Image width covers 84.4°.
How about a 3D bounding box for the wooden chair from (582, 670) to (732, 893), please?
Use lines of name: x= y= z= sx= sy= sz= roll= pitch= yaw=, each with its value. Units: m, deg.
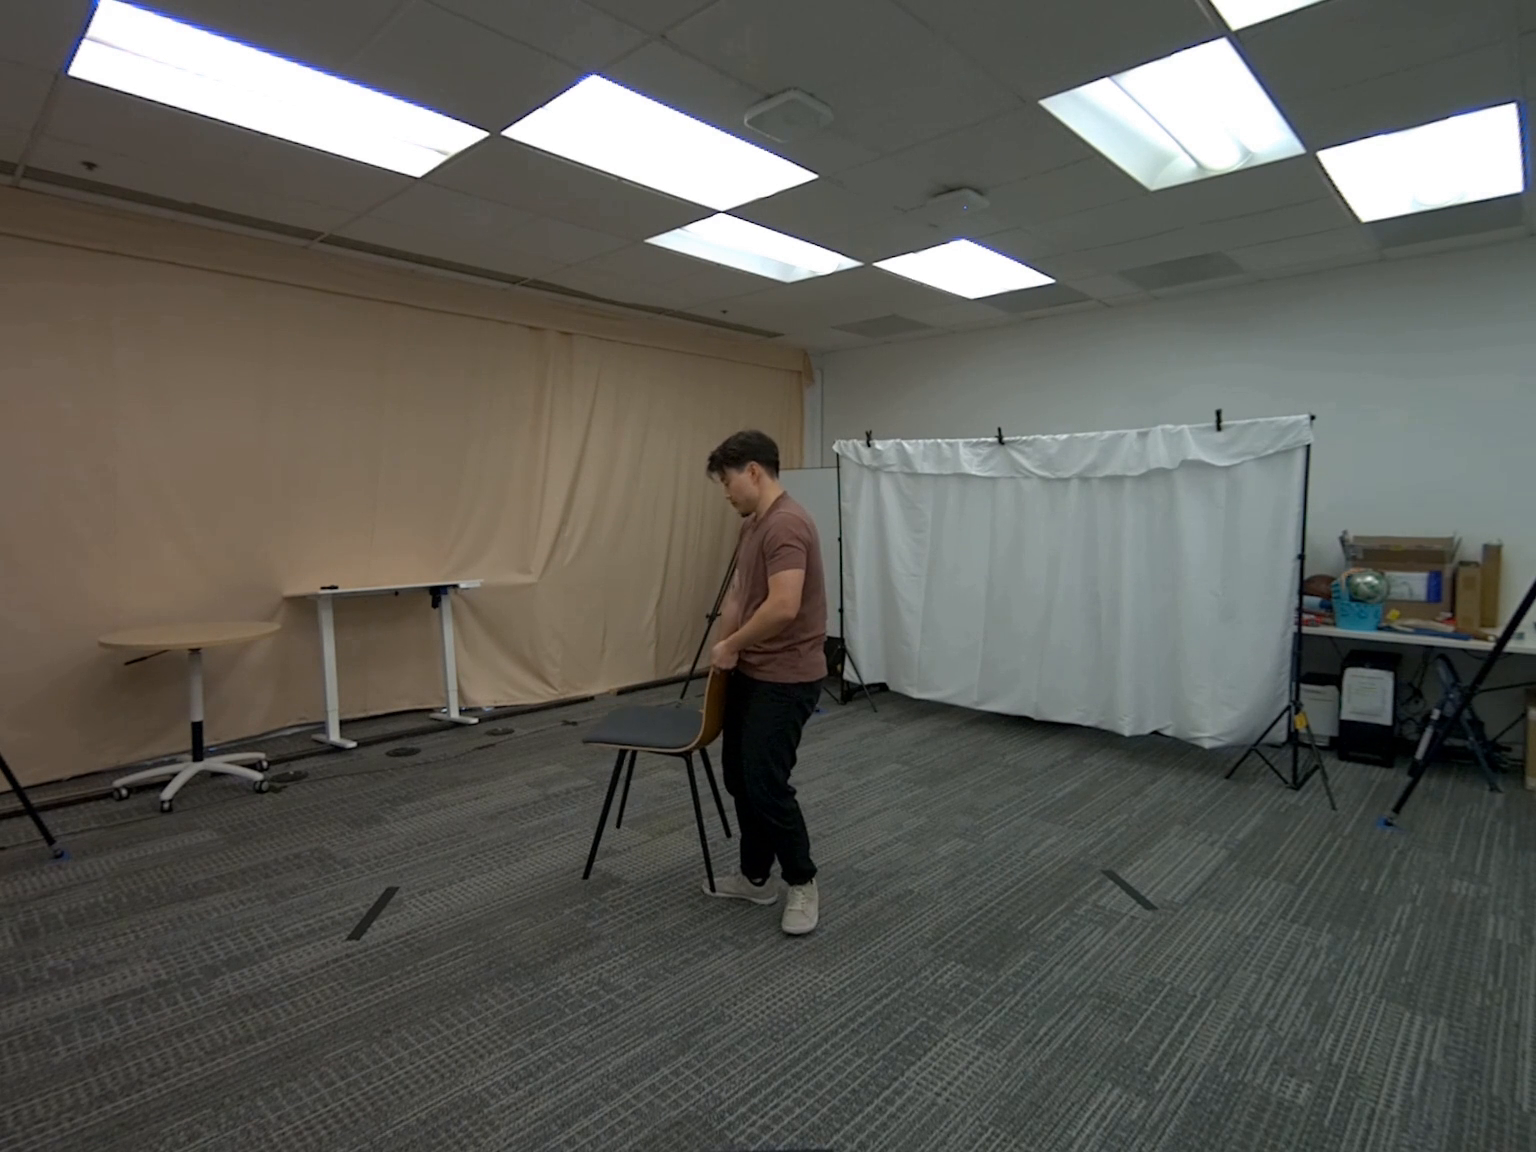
wooden chair: x=-0.376 y=0.595 z=2.993 sx=0.528 sy=0.875 sz=0.475 roll=7 pitch=6 yaw=7
